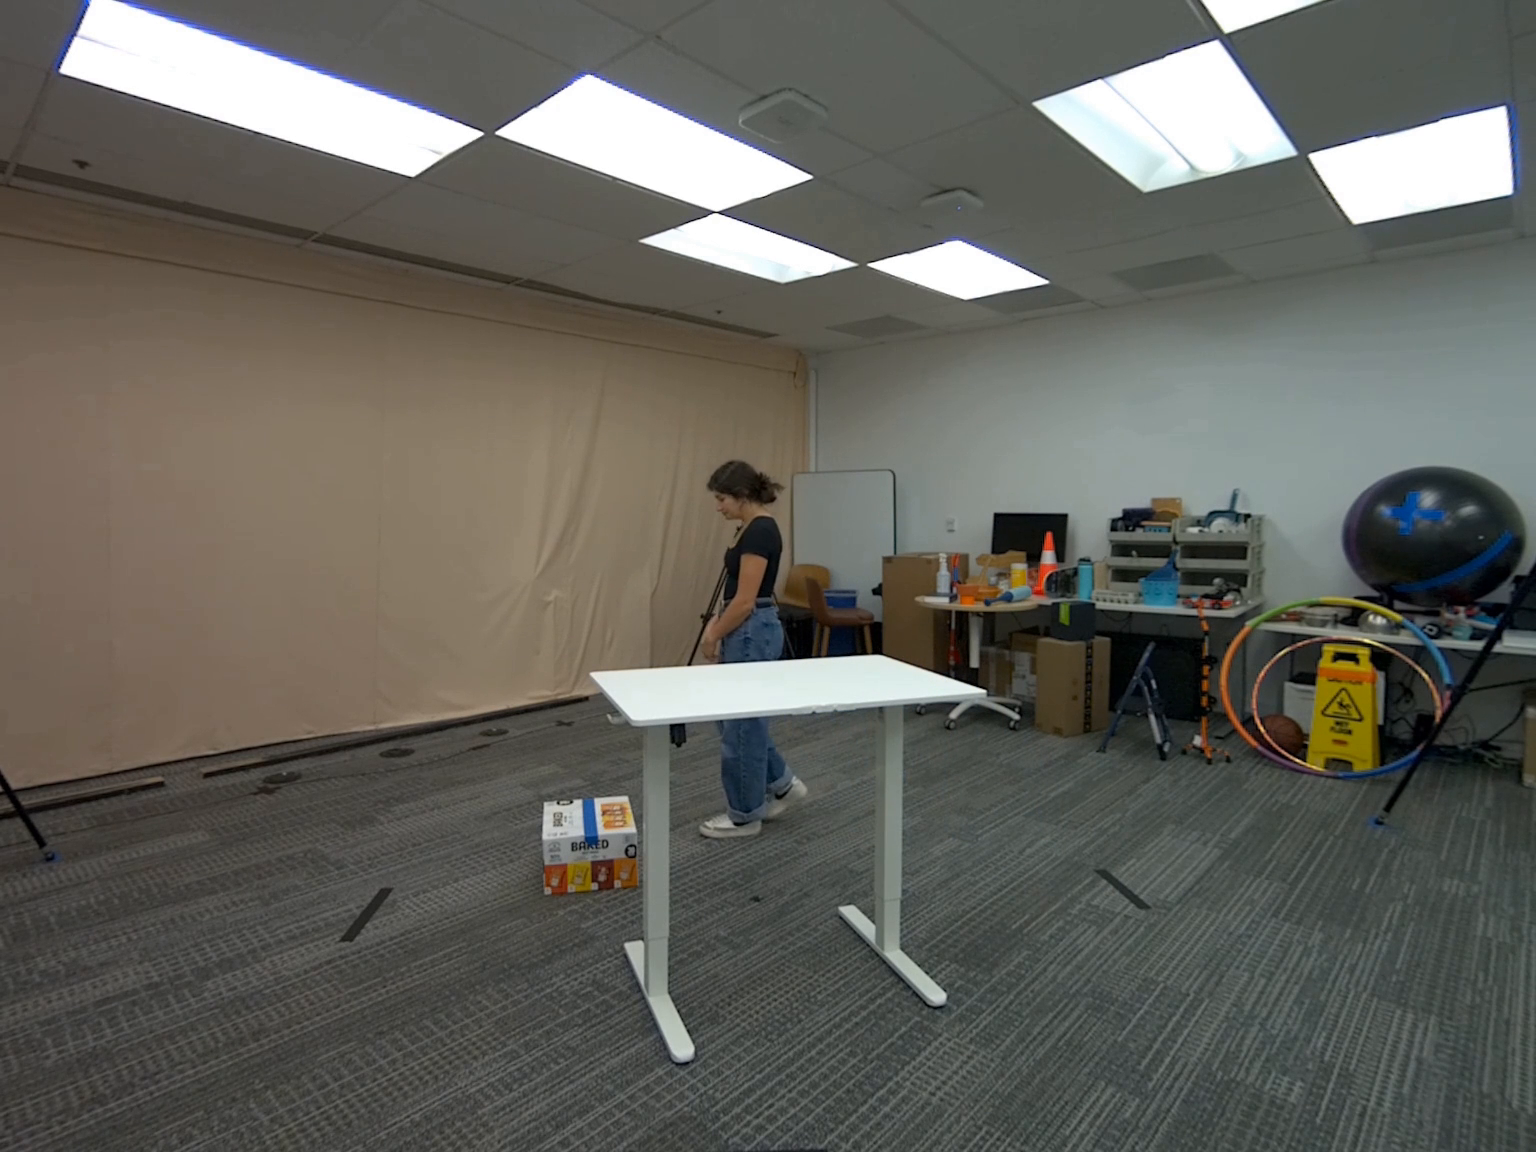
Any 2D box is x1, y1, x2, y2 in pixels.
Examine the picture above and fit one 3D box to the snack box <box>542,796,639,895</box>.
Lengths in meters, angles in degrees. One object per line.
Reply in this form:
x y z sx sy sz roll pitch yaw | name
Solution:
-0.695 1.028 3.243 0.336 0.205 0.411 -1 4 -13 | snack box
